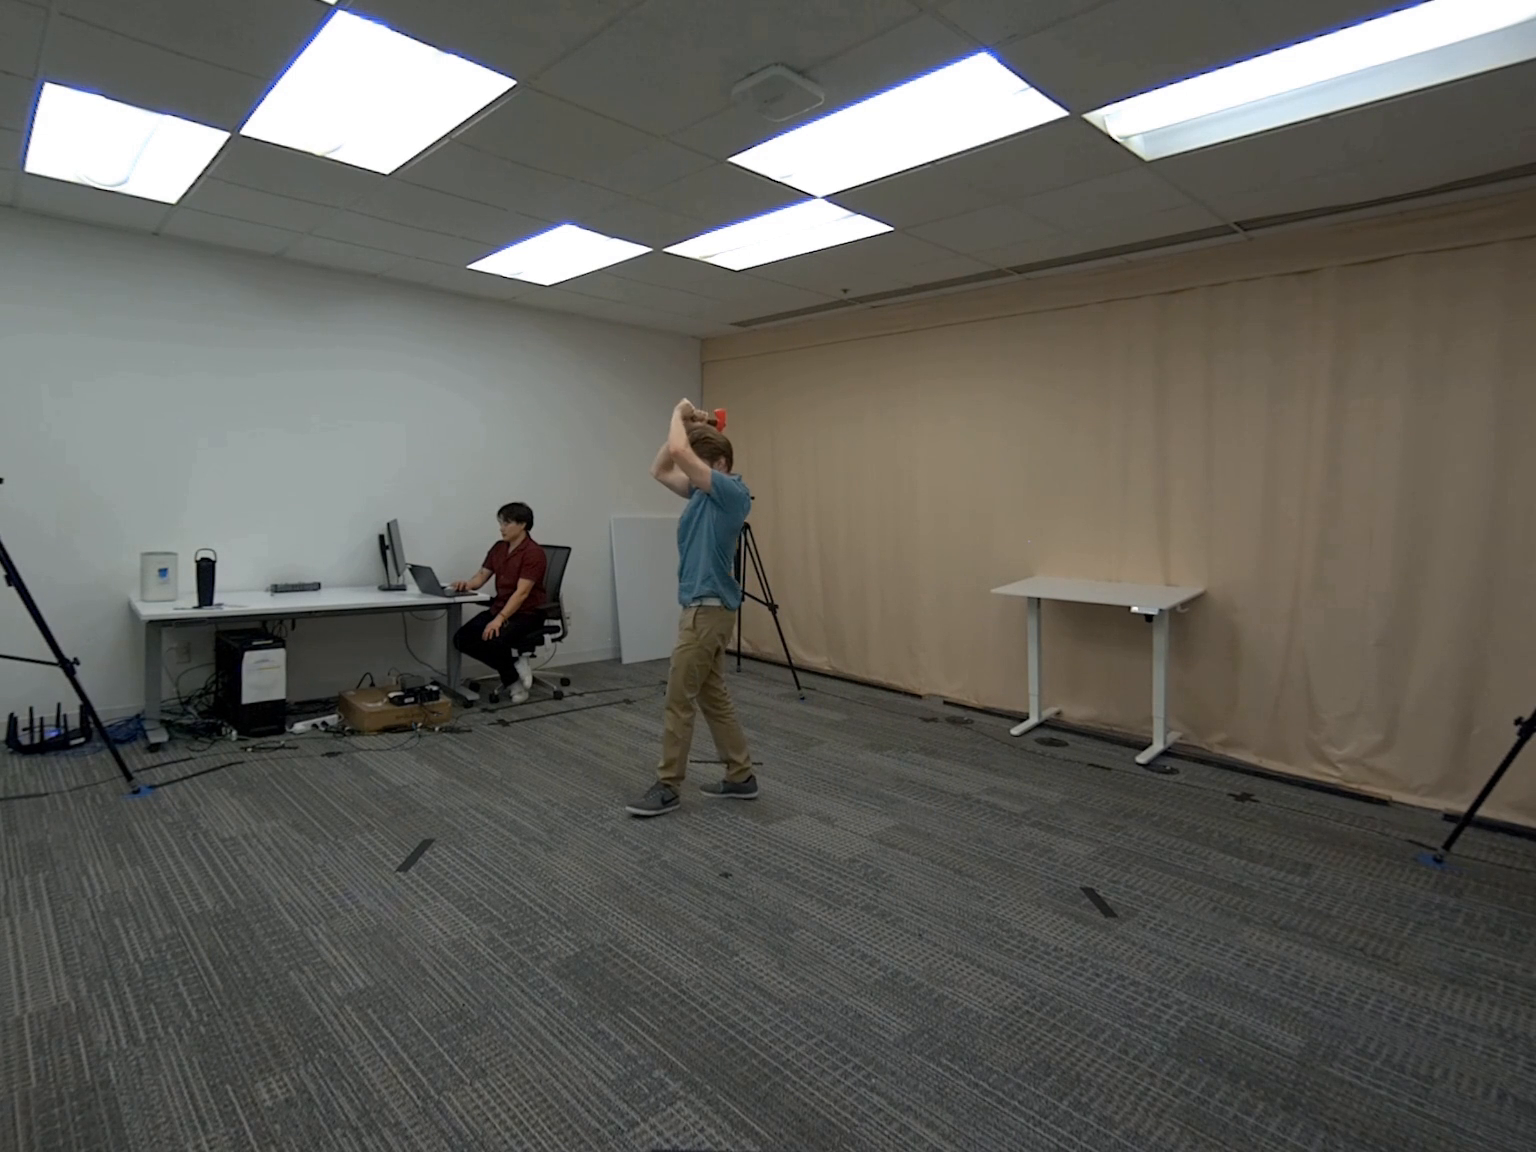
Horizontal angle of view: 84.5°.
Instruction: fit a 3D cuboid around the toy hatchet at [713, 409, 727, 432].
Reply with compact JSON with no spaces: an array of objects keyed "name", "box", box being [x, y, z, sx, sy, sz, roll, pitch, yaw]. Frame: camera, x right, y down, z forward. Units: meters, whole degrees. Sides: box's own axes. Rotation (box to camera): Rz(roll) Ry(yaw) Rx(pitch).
[{"name":"toy hatchet","box":[-0.297,-0.753,3.854,0.262,0.131,0.030,32,1,-36]}]
